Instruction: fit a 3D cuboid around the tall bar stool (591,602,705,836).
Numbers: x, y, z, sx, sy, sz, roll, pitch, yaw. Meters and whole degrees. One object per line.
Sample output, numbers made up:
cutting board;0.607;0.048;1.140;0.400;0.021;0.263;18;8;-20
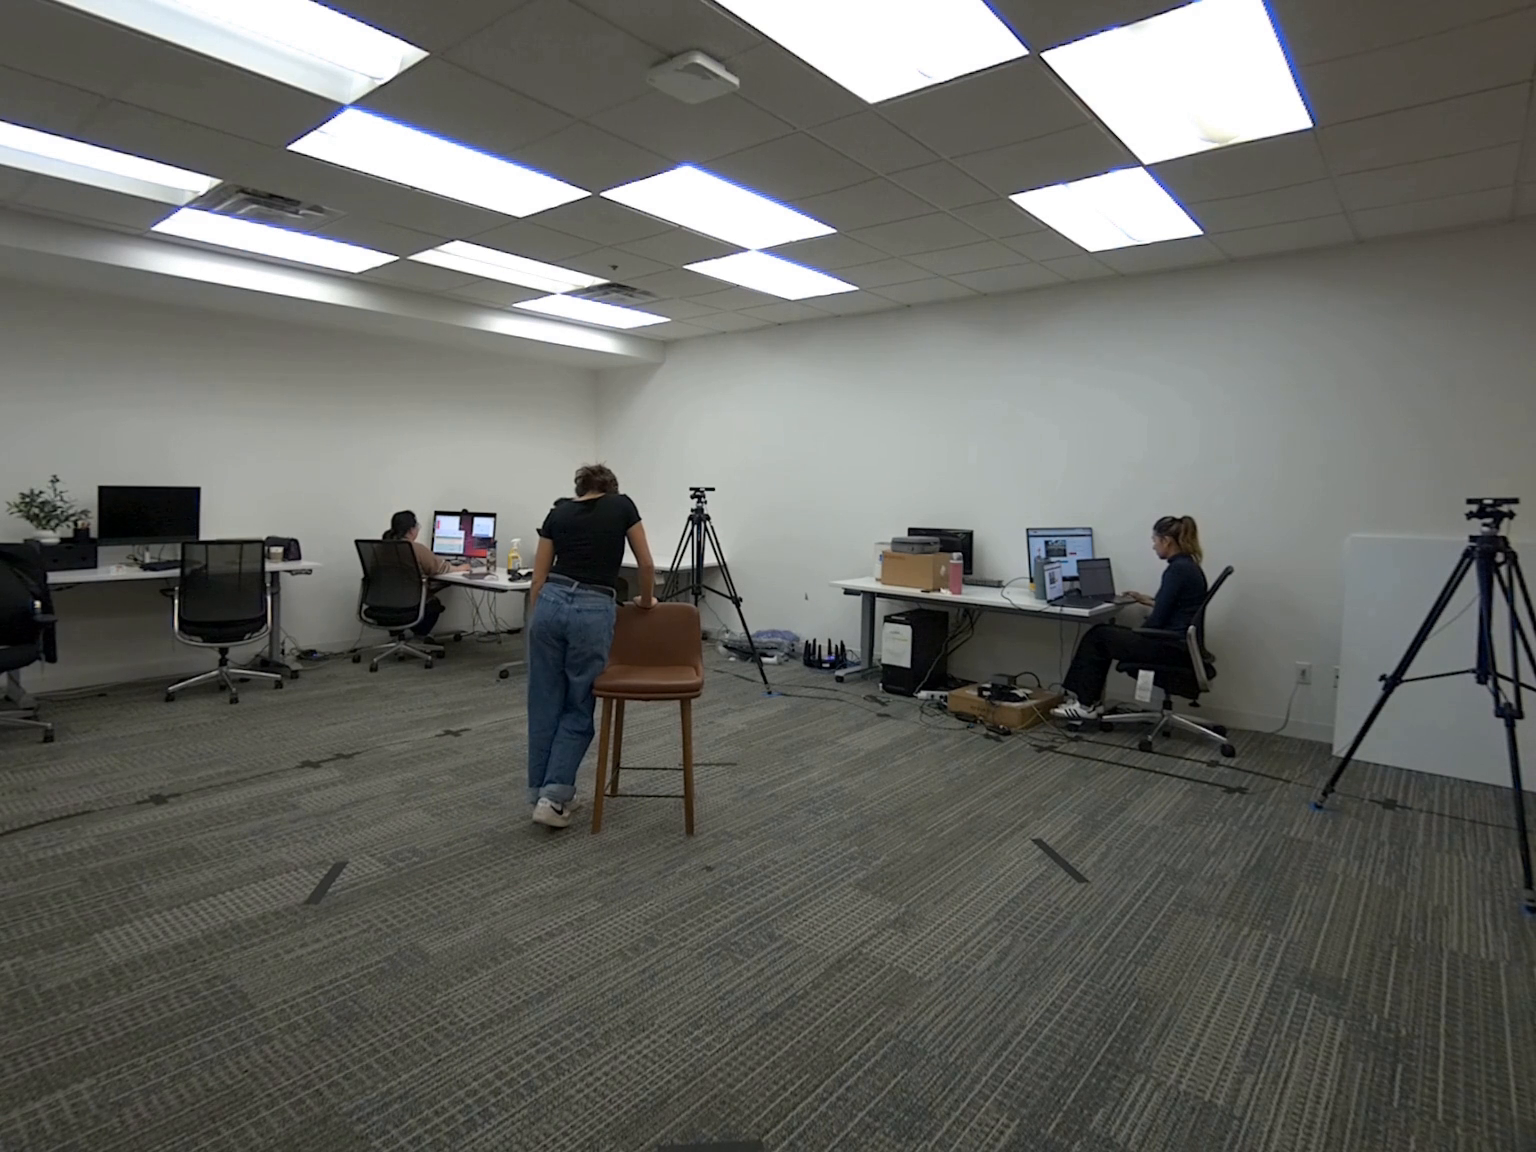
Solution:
tall bar stool;-0.512;0.577;3.615;0.457;0.889;0.468;1;1;-1
